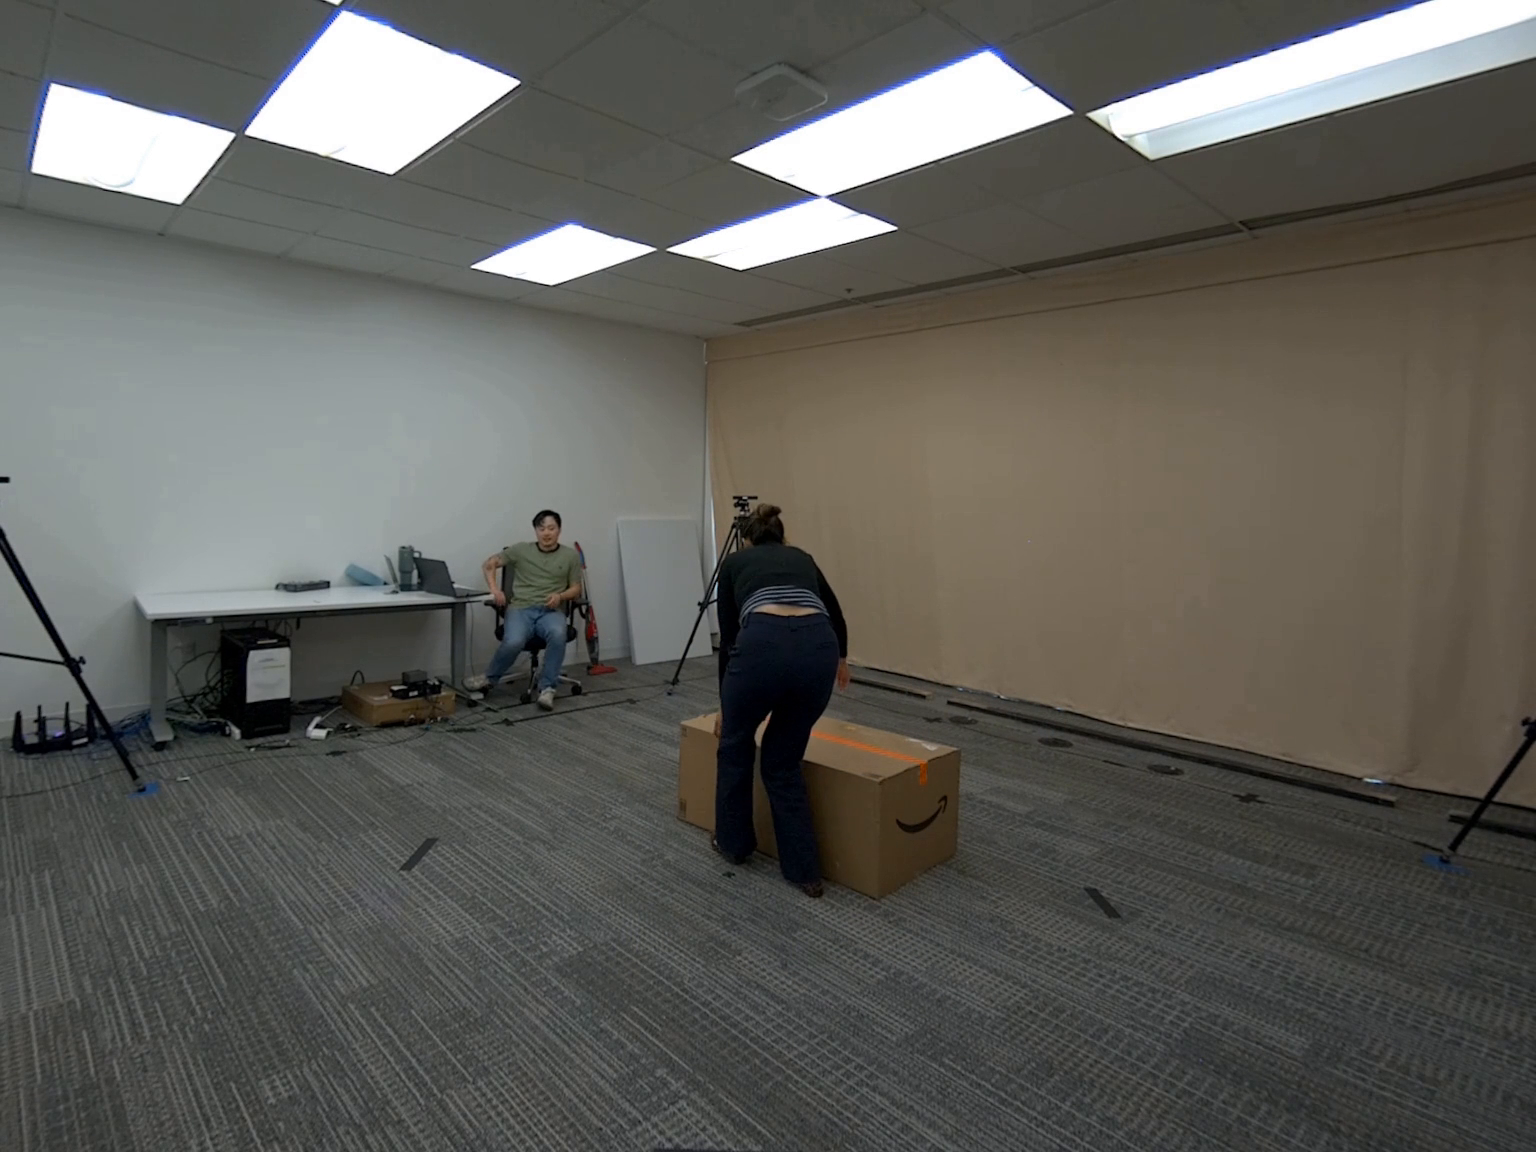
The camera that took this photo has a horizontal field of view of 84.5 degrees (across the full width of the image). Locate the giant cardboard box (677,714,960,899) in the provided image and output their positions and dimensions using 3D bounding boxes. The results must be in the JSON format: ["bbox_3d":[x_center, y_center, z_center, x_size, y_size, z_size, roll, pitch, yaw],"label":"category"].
[{"bbox_3d":[0.179,0.863,3.474,1.052,0.425,0.564,6,5,42],"label":"giant cardboard box"}]
